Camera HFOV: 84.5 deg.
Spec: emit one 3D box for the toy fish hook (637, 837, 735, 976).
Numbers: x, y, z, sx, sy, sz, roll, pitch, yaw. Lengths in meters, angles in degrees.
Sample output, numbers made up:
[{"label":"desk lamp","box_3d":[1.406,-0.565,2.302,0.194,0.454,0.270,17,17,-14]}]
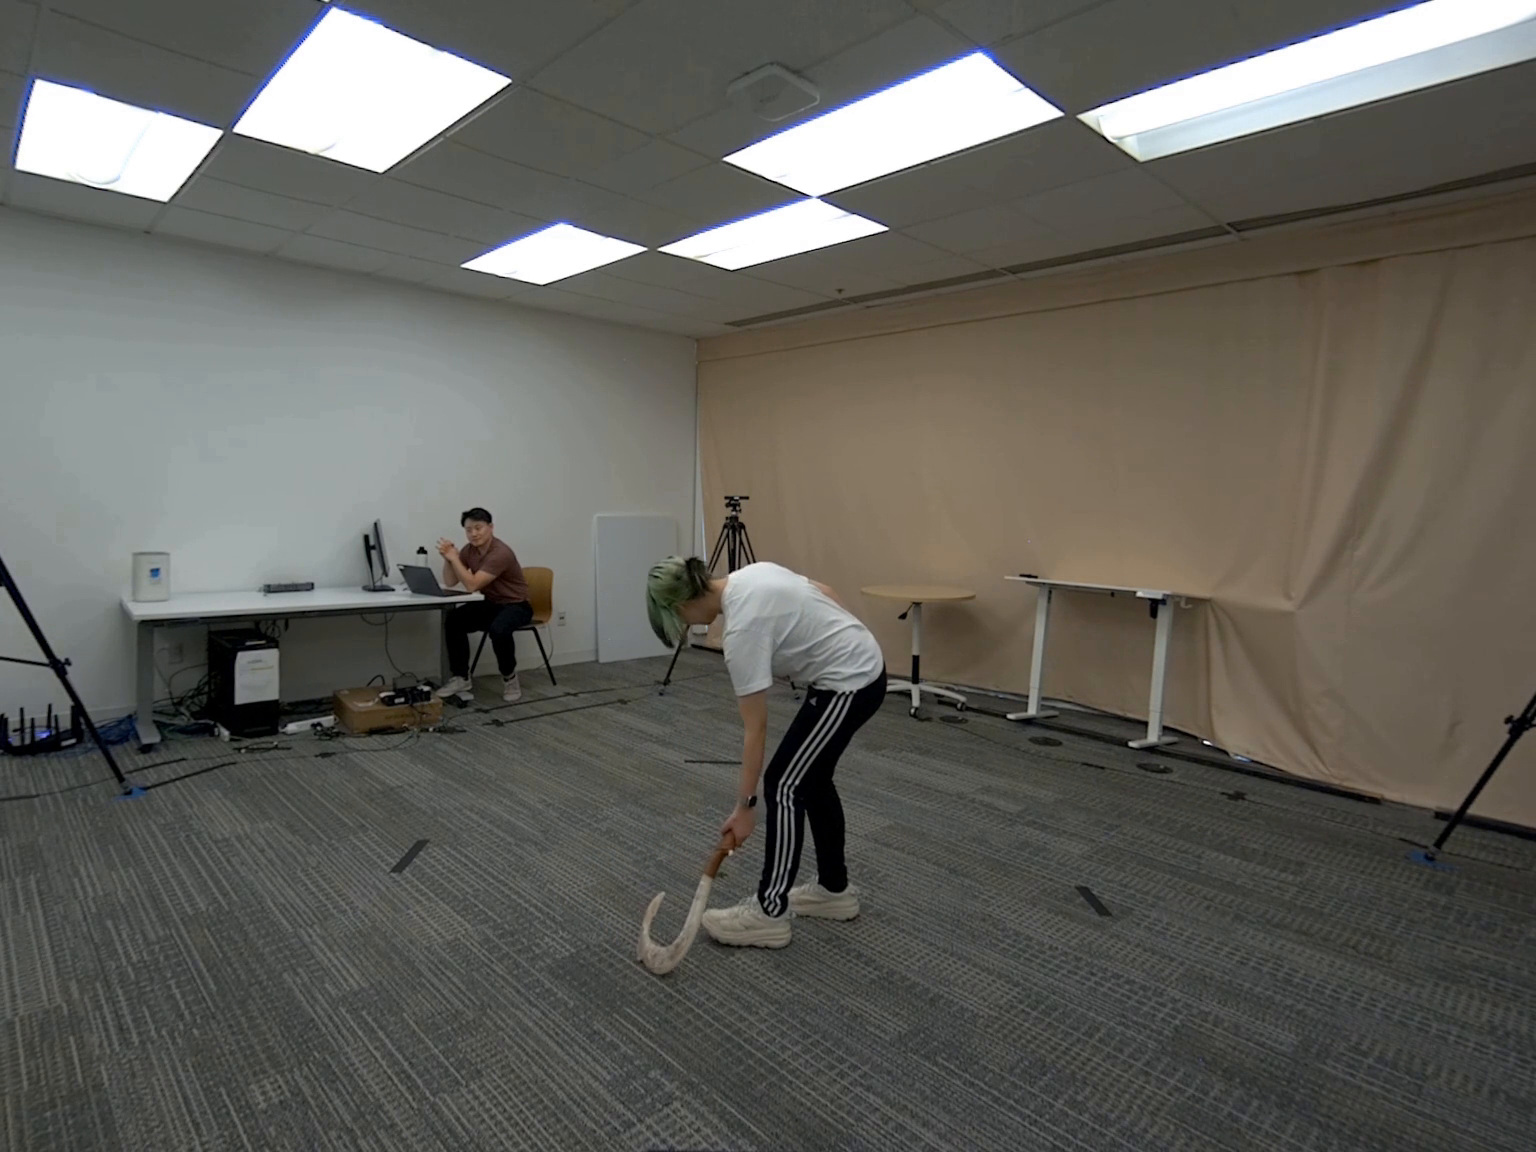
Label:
[{"label":"toy fish hook","box_3d":[-0.241,0.945,2.548,0.231,0.508,0.047,13,-25,45]}]
